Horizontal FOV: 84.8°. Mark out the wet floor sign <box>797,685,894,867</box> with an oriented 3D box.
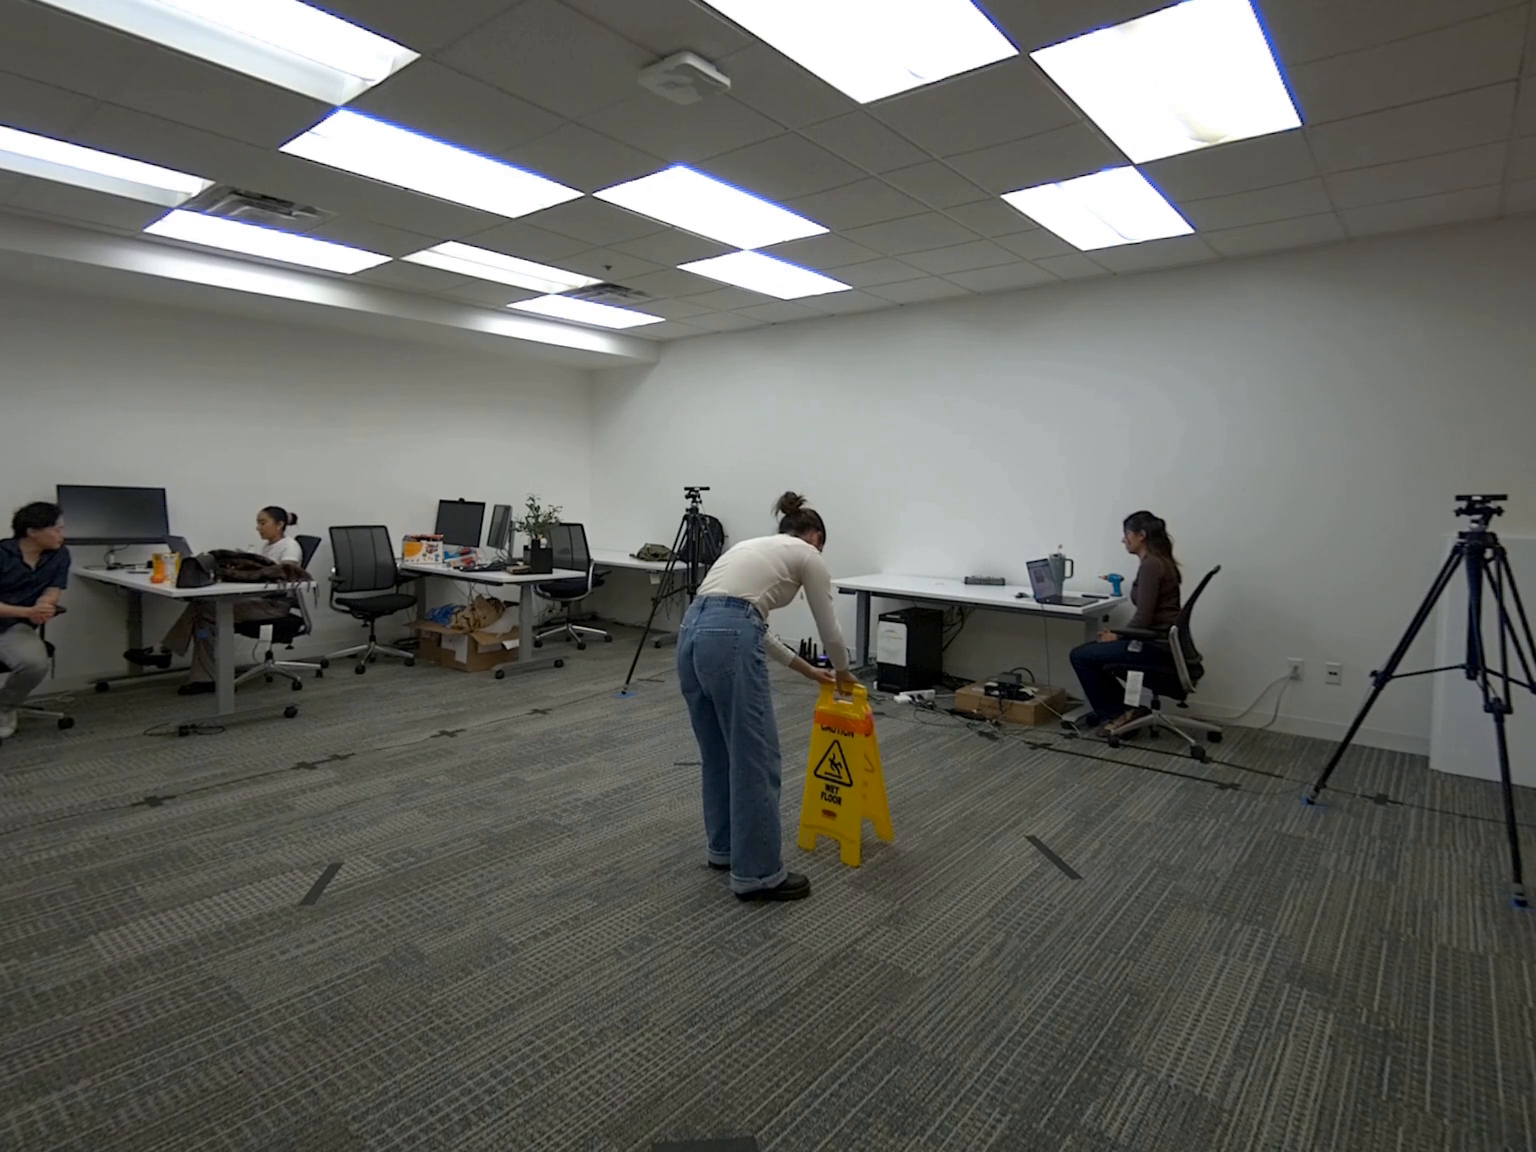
[{"bbox_3d":[0.283,0.724,3.289,0.291,0.642,0.282,3,8,40],"label":"wet floor sign"}]
